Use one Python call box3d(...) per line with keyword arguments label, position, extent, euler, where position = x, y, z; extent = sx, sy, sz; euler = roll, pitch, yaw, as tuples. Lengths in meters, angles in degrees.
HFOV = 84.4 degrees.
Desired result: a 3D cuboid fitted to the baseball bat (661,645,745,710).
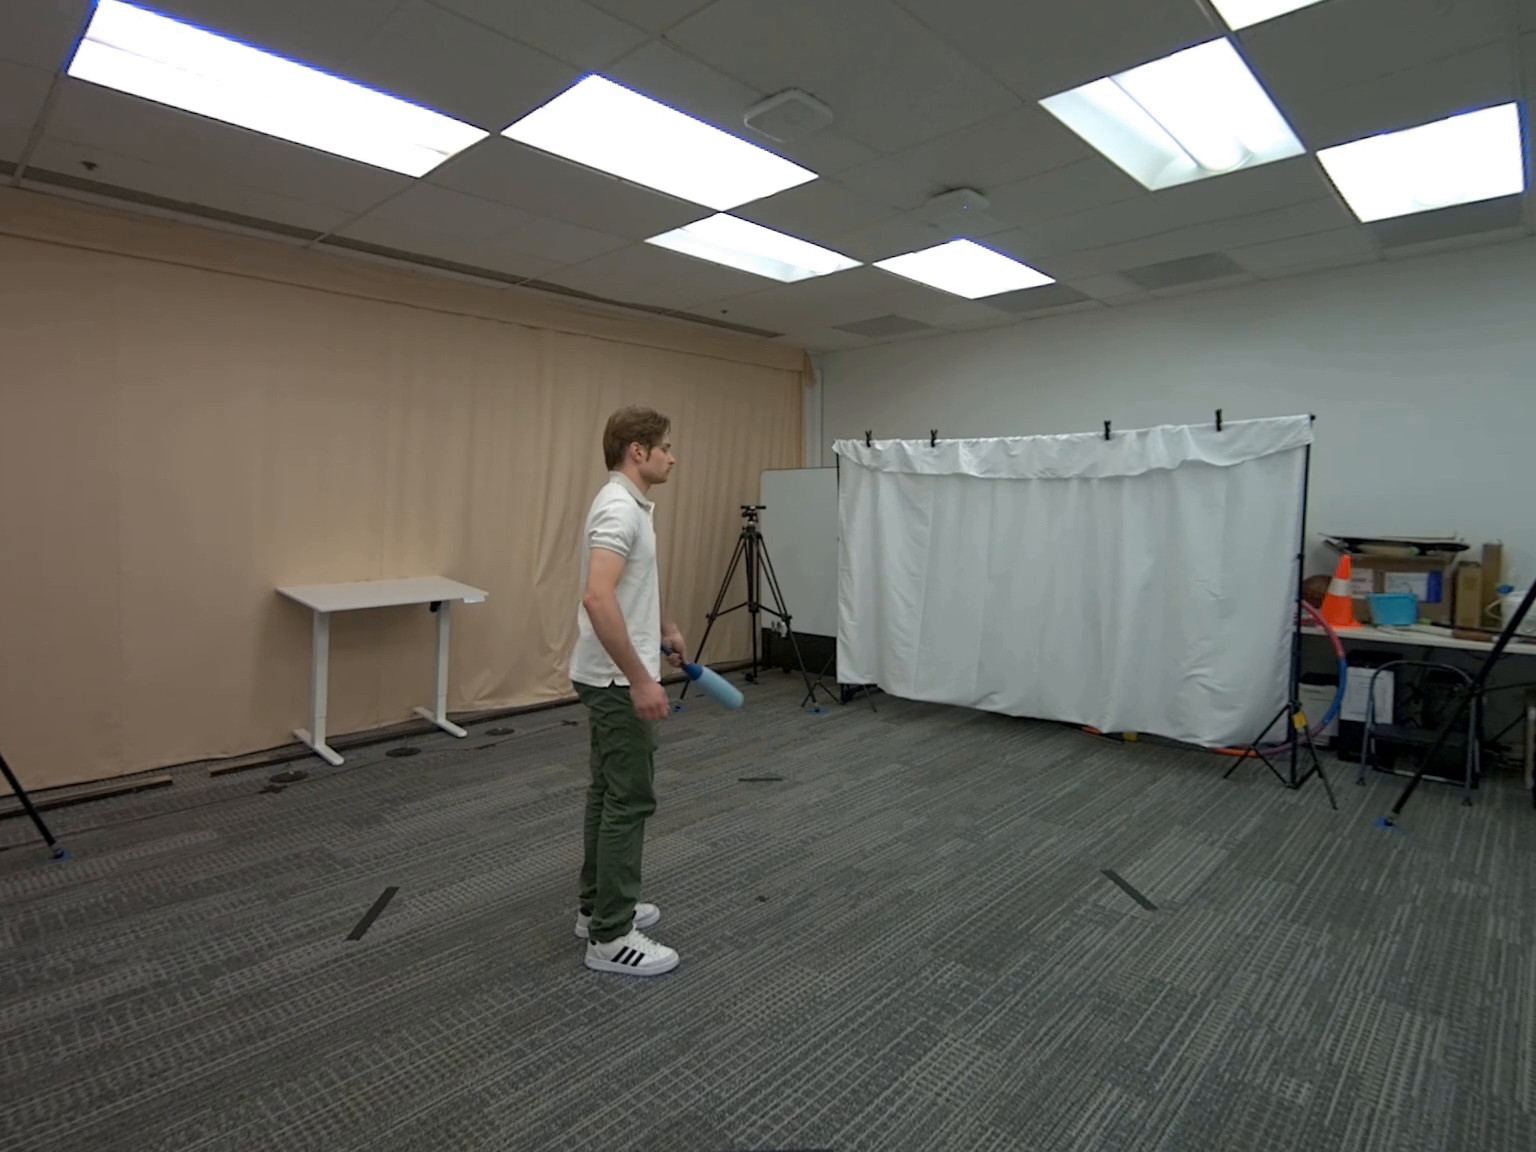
box3d(label="baseball bat", position=(-0.297, 0.360, 3.174), extent=(0.092, 0.089, 0.525), euler=(4, -30, 49))
